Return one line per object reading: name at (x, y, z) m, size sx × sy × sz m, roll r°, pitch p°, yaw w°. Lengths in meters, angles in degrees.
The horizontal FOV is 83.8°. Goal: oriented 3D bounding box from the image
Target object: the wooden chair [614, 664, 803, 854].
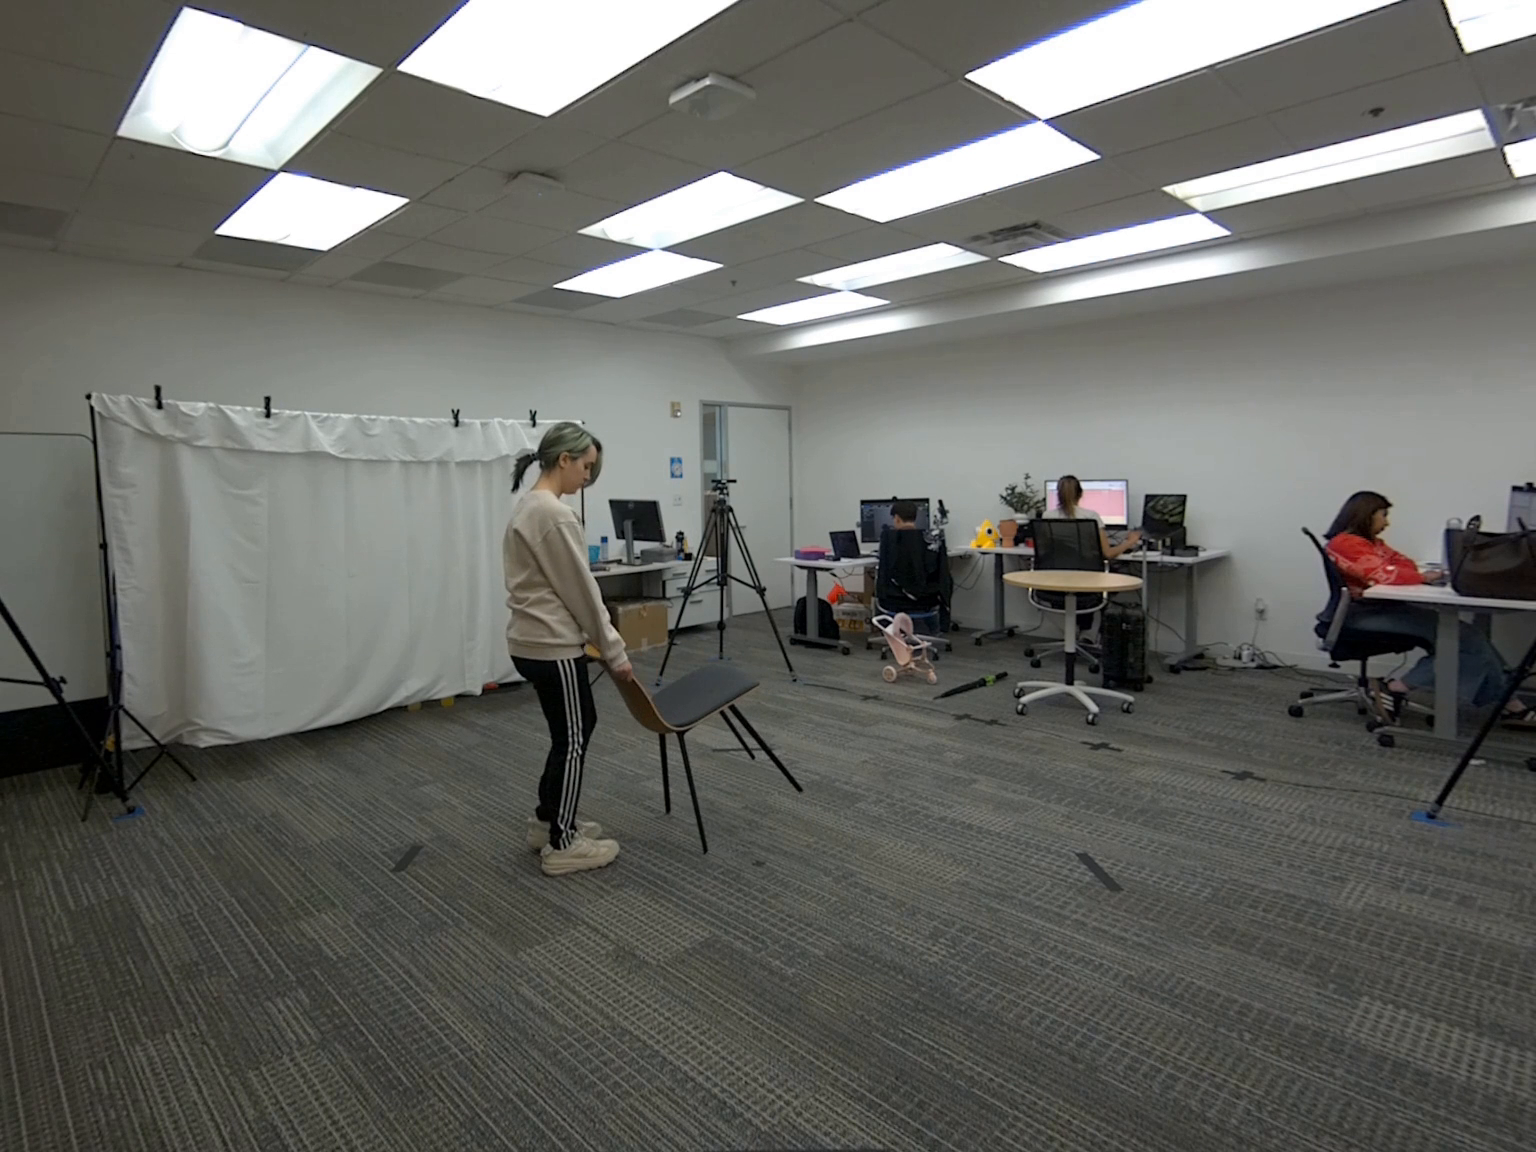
wooden chair at (-0.294, 0.536, 3.393) m, size 0.519 × 0.863 × 0.489 m, roll -31°, pitch 14°, yaw -19°
